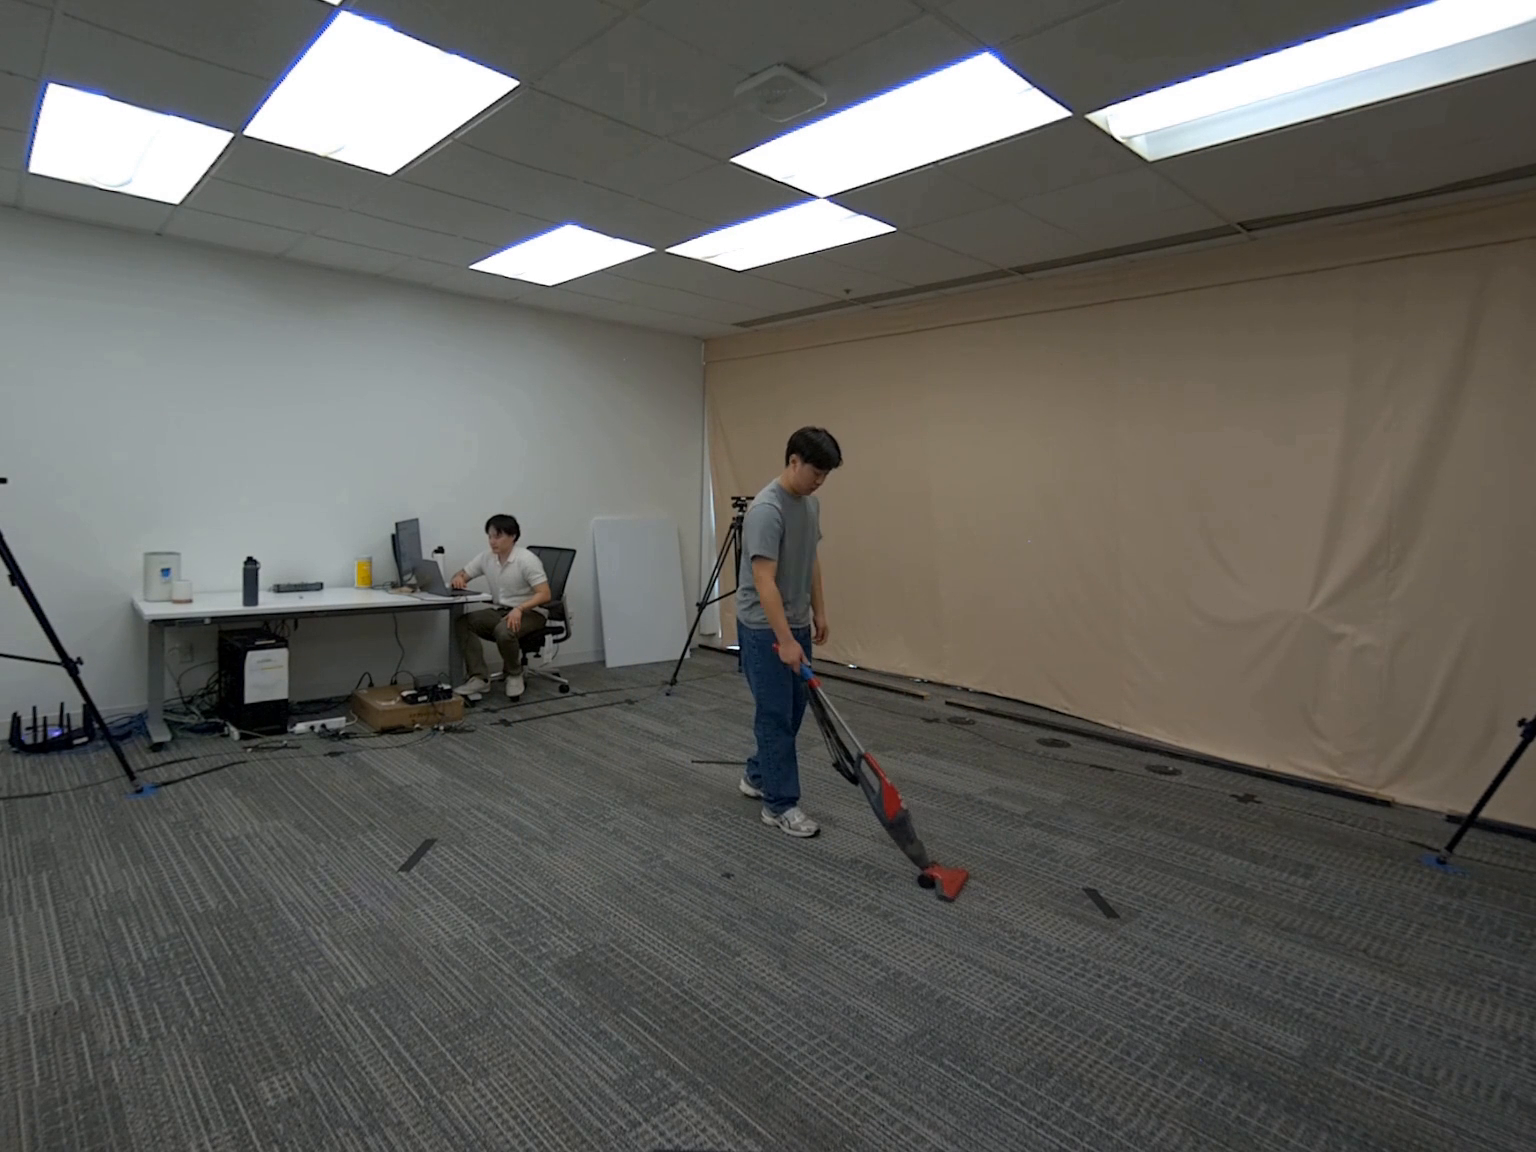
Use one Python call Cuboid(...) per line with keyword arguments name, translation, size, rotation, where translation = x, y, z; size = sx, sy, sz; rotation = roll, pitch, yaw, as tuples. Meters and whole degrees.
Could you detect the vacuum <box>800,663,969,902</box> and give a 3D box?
Cuboid(name="vacuum", translation=(0.341, 0.706, 3.224), size=(0.144, 1.068, 0.247), rotation=(-43, -19, 26))
